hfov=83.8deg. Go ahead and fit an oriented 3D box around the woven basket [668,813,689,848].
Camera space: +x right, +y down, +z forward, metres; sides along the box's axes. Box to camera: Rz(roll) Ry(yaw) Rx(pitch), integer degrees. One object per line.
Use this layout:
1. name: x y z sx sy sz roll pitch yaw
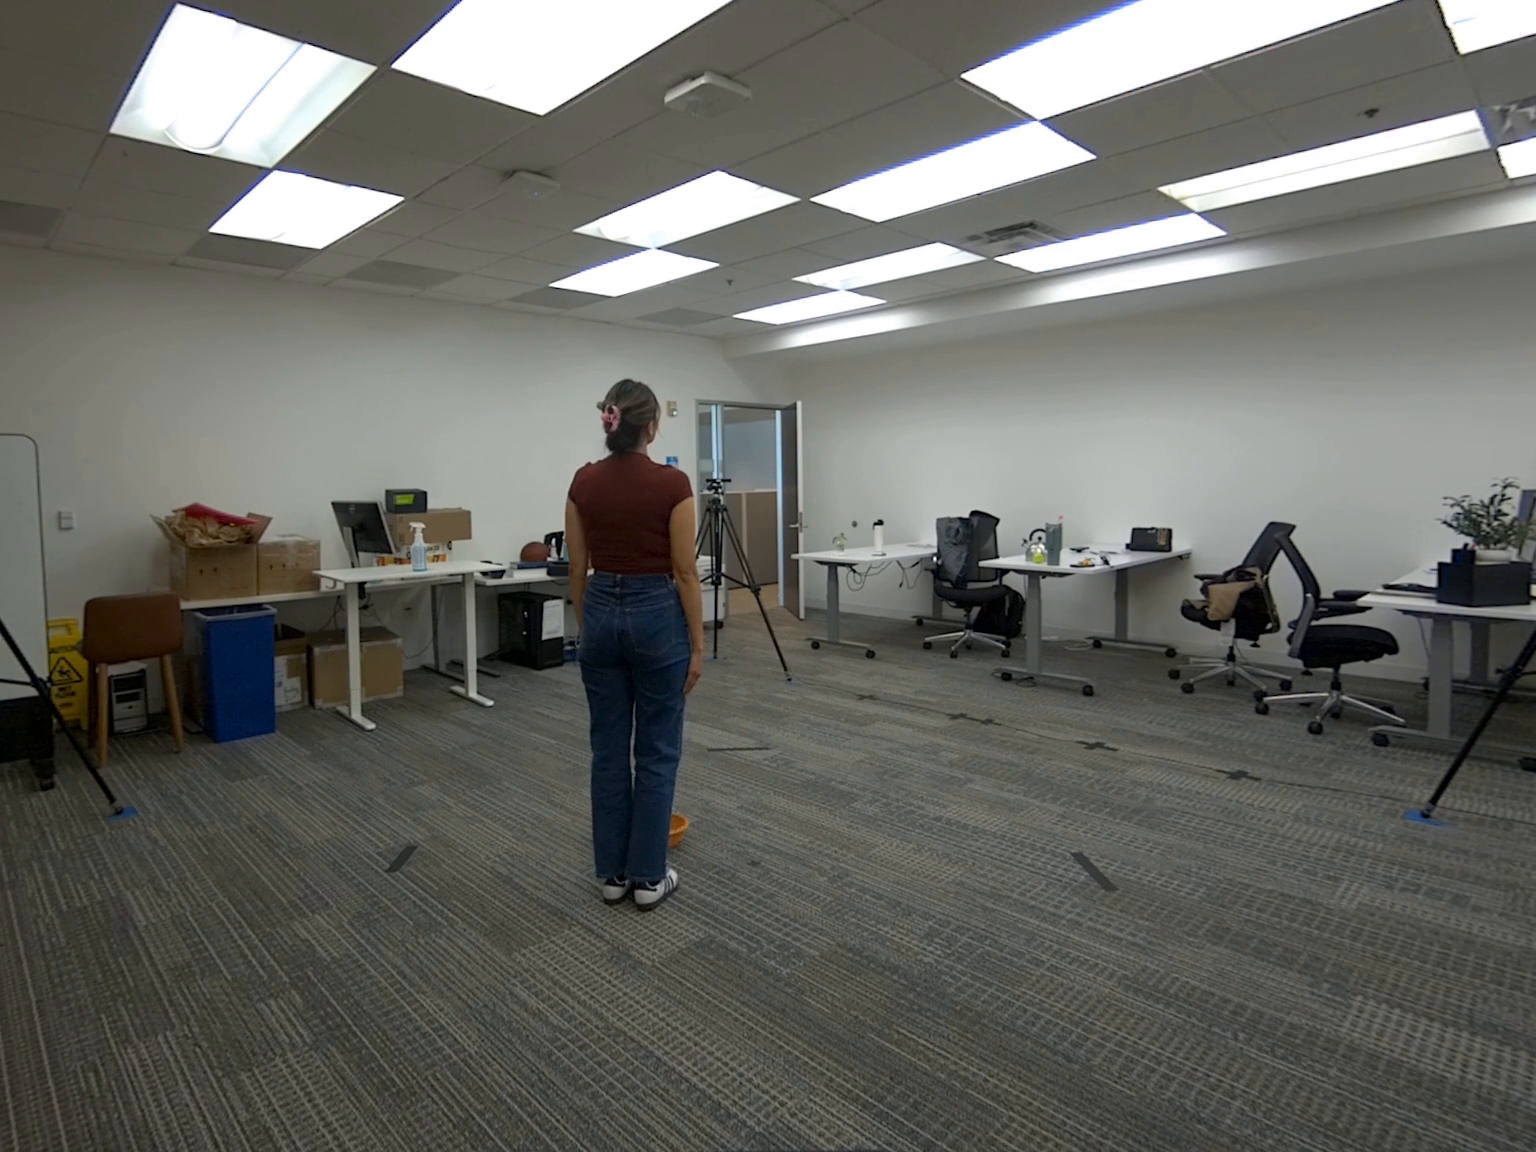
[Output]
1. woven basket: -0.471 1.002 3.330 0.356 0.073 0.249 1 4 15
